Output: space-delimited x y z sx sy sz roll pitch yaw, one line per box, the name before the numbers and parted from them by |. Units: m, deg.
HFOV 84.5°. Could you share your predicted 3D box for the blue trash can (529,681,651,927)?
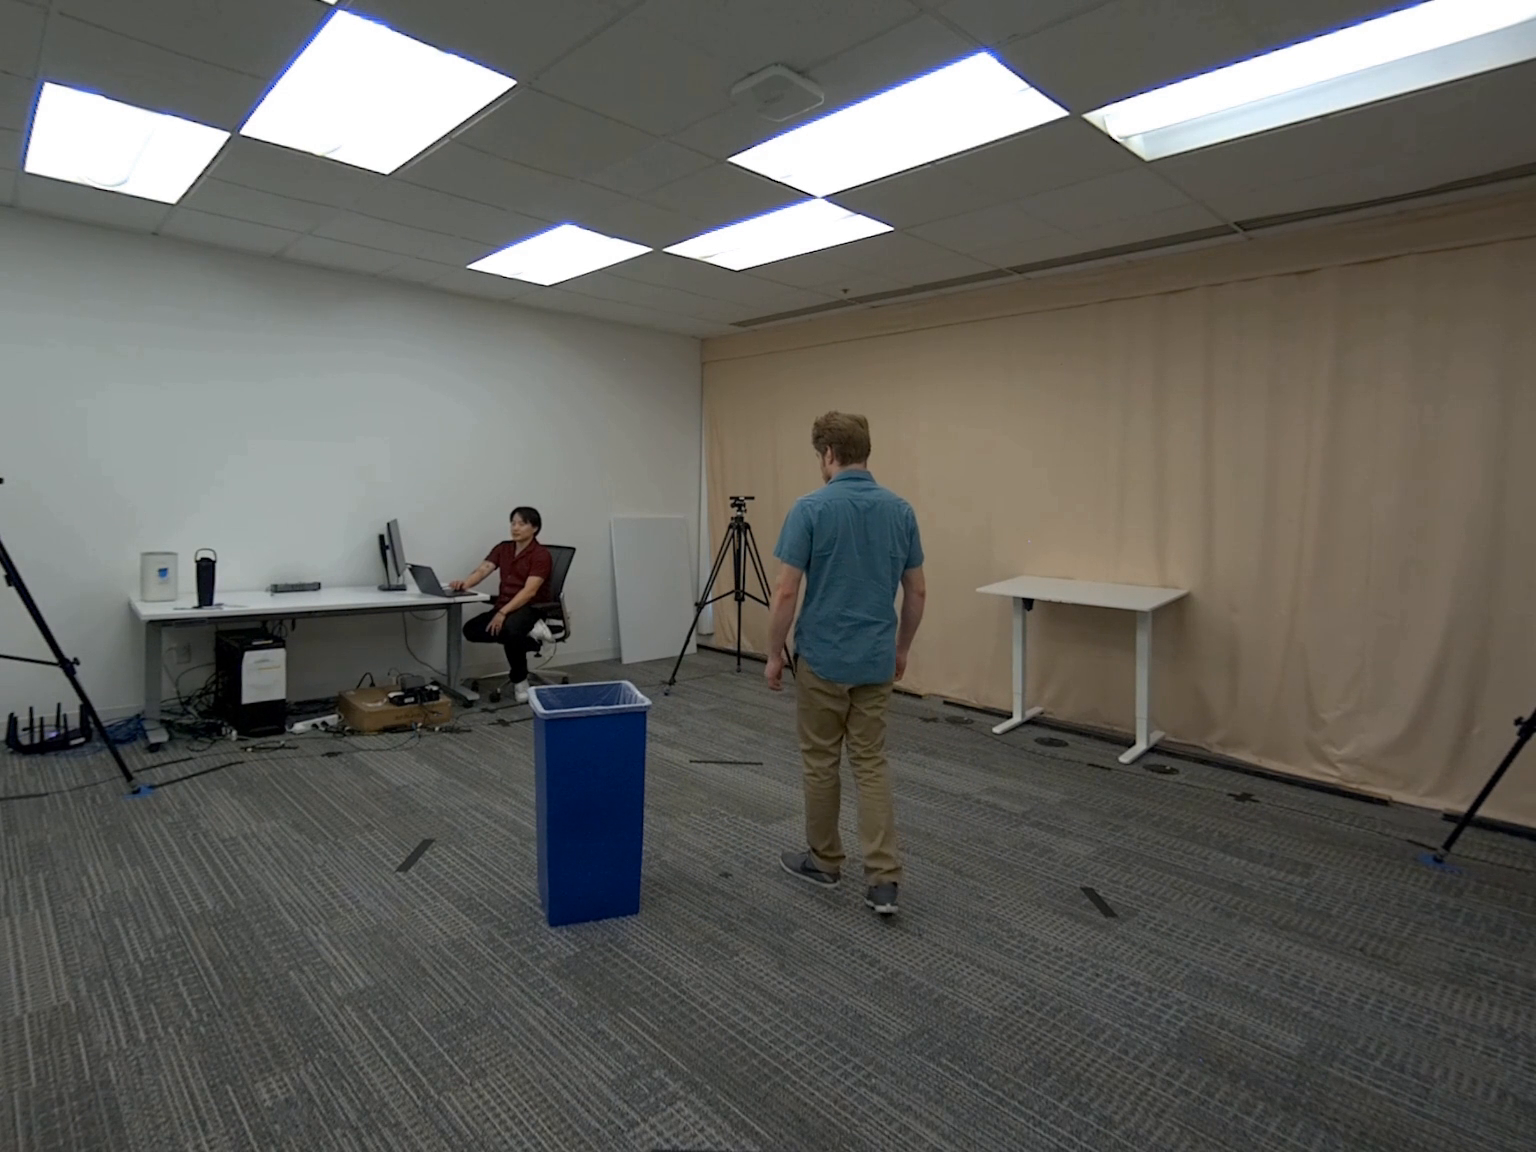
blue trash can | -0.624 0.758 2.863 0.368 0.712 0.385 0 3 -22
